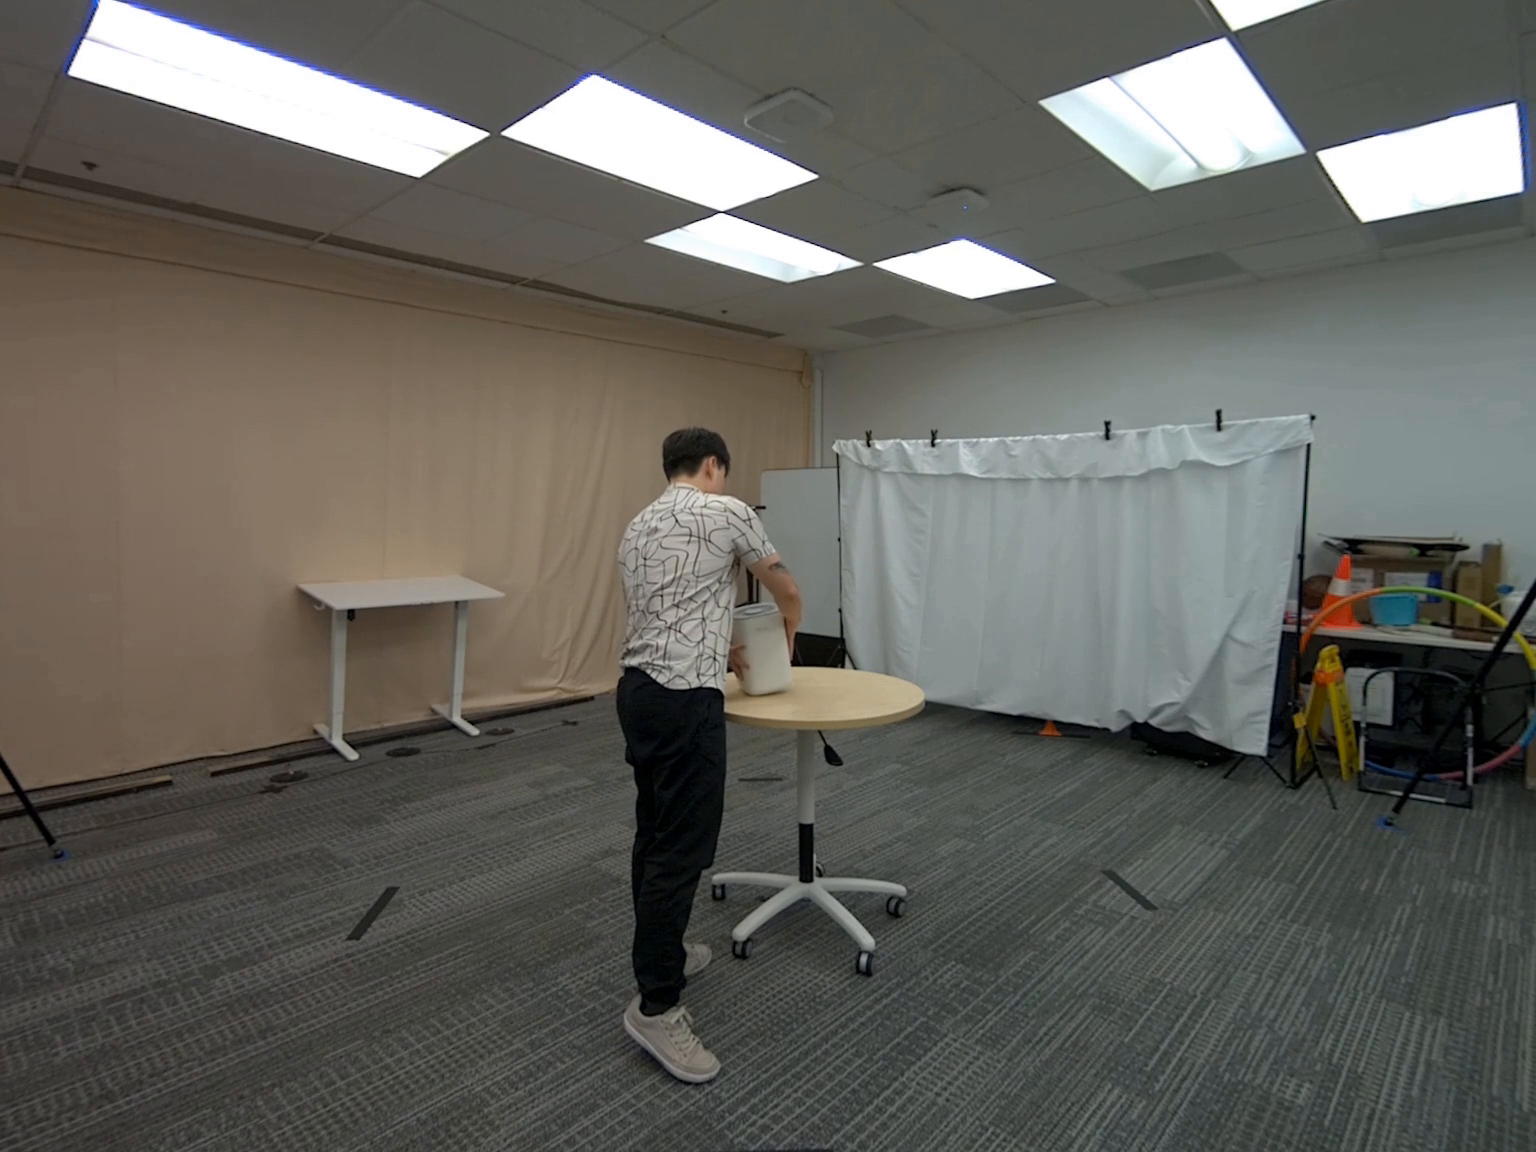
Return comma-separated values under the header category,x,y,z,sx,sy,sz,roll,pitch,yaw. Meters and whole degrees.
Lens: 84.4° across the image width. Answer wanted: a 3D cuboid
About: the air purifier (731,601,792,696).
category,x,y,z,sx,sy,sz,roll,pitch,yaw
air purifier,-0.027,0.238,2.761,0.169,0.263,0.175,-13,10,-15
